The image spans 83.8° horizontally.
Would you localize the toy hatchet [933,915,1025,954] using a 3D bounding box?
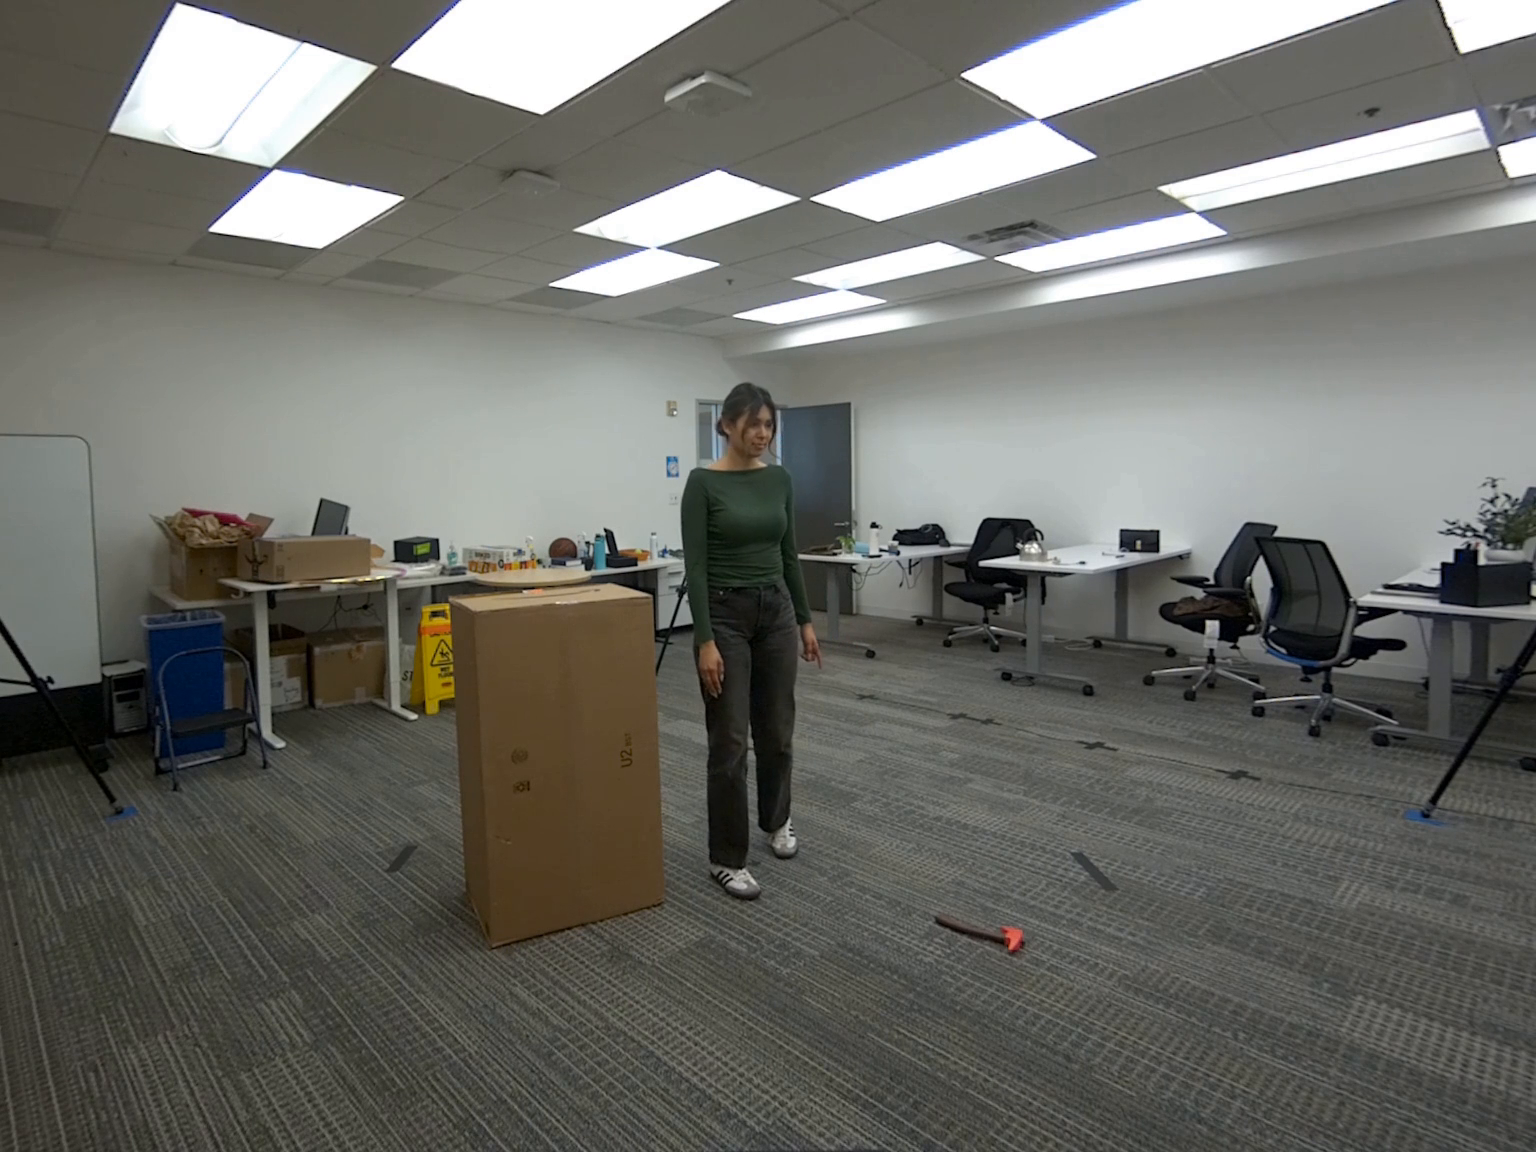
[{"bbox_3d":[0.657,1.069,2.611,0.128,0.029,0.278,-7,7,-43],"label":"toy hatchet"}]
